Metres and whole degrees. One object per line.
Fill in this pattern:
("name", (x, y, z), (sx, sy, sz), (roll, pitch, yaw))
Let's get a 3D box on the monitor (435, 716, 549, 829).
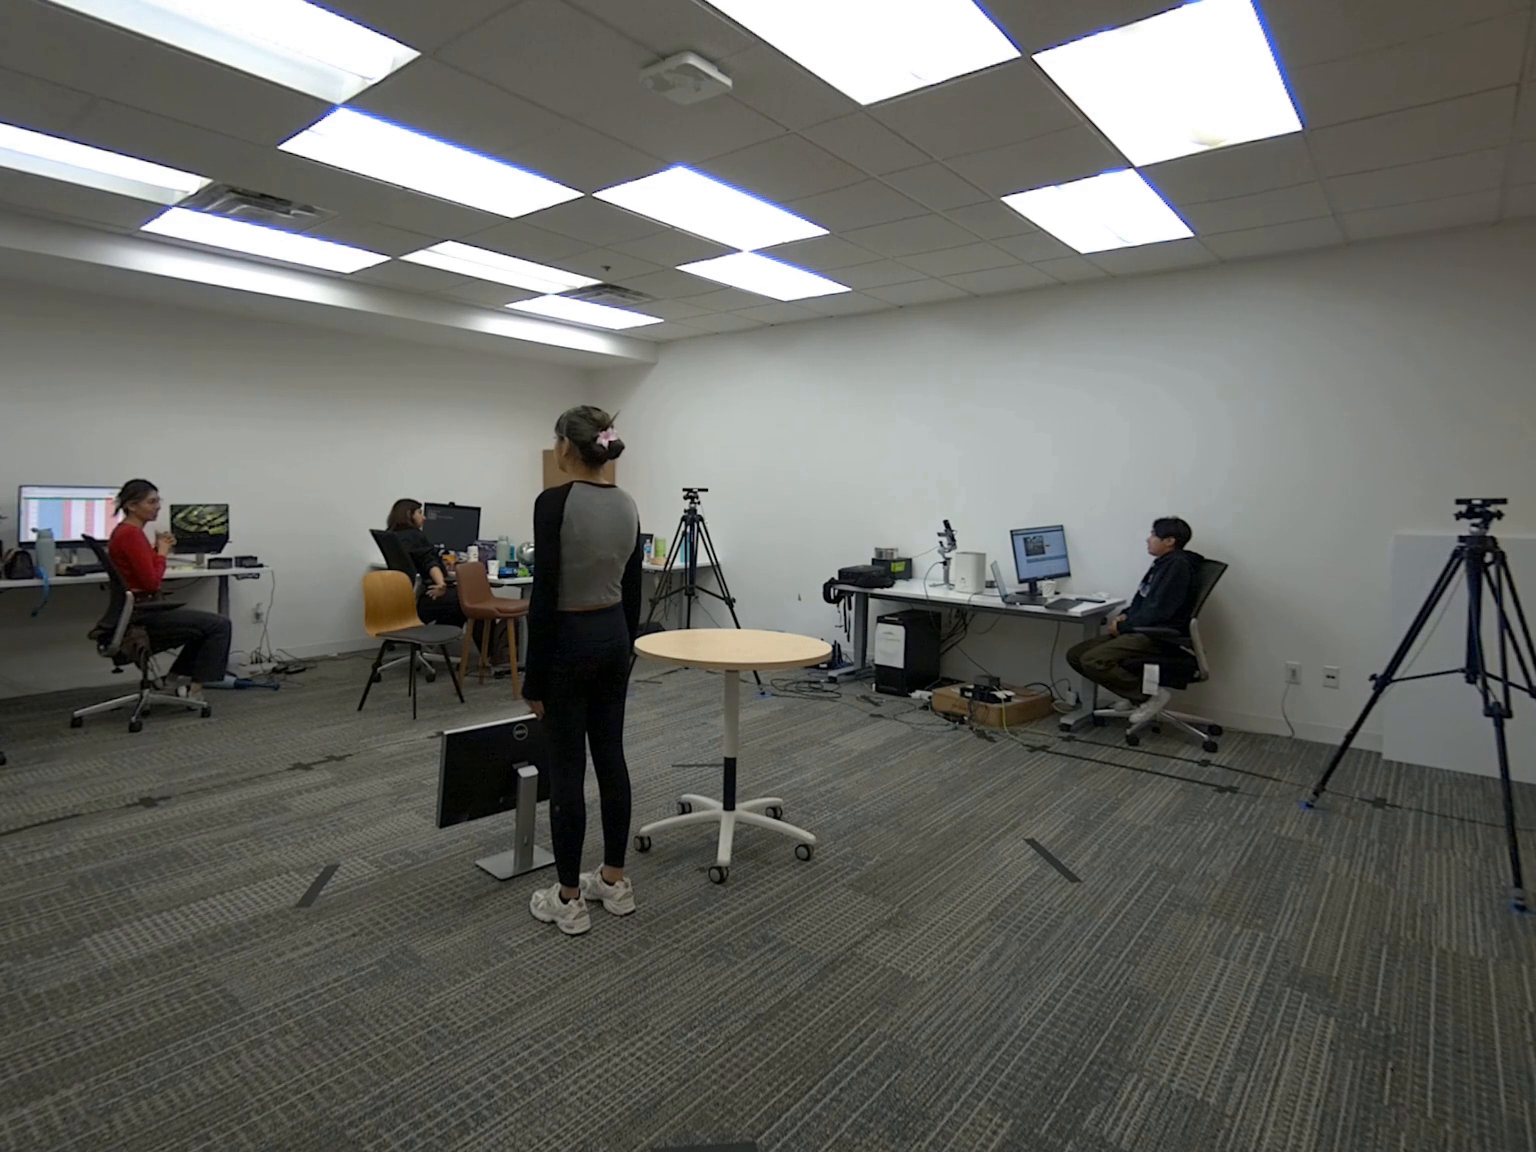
("monitor", (-0.937, 0.795, 3.117), (0.193, 0.522, 0.523), (0, 3, 45))
